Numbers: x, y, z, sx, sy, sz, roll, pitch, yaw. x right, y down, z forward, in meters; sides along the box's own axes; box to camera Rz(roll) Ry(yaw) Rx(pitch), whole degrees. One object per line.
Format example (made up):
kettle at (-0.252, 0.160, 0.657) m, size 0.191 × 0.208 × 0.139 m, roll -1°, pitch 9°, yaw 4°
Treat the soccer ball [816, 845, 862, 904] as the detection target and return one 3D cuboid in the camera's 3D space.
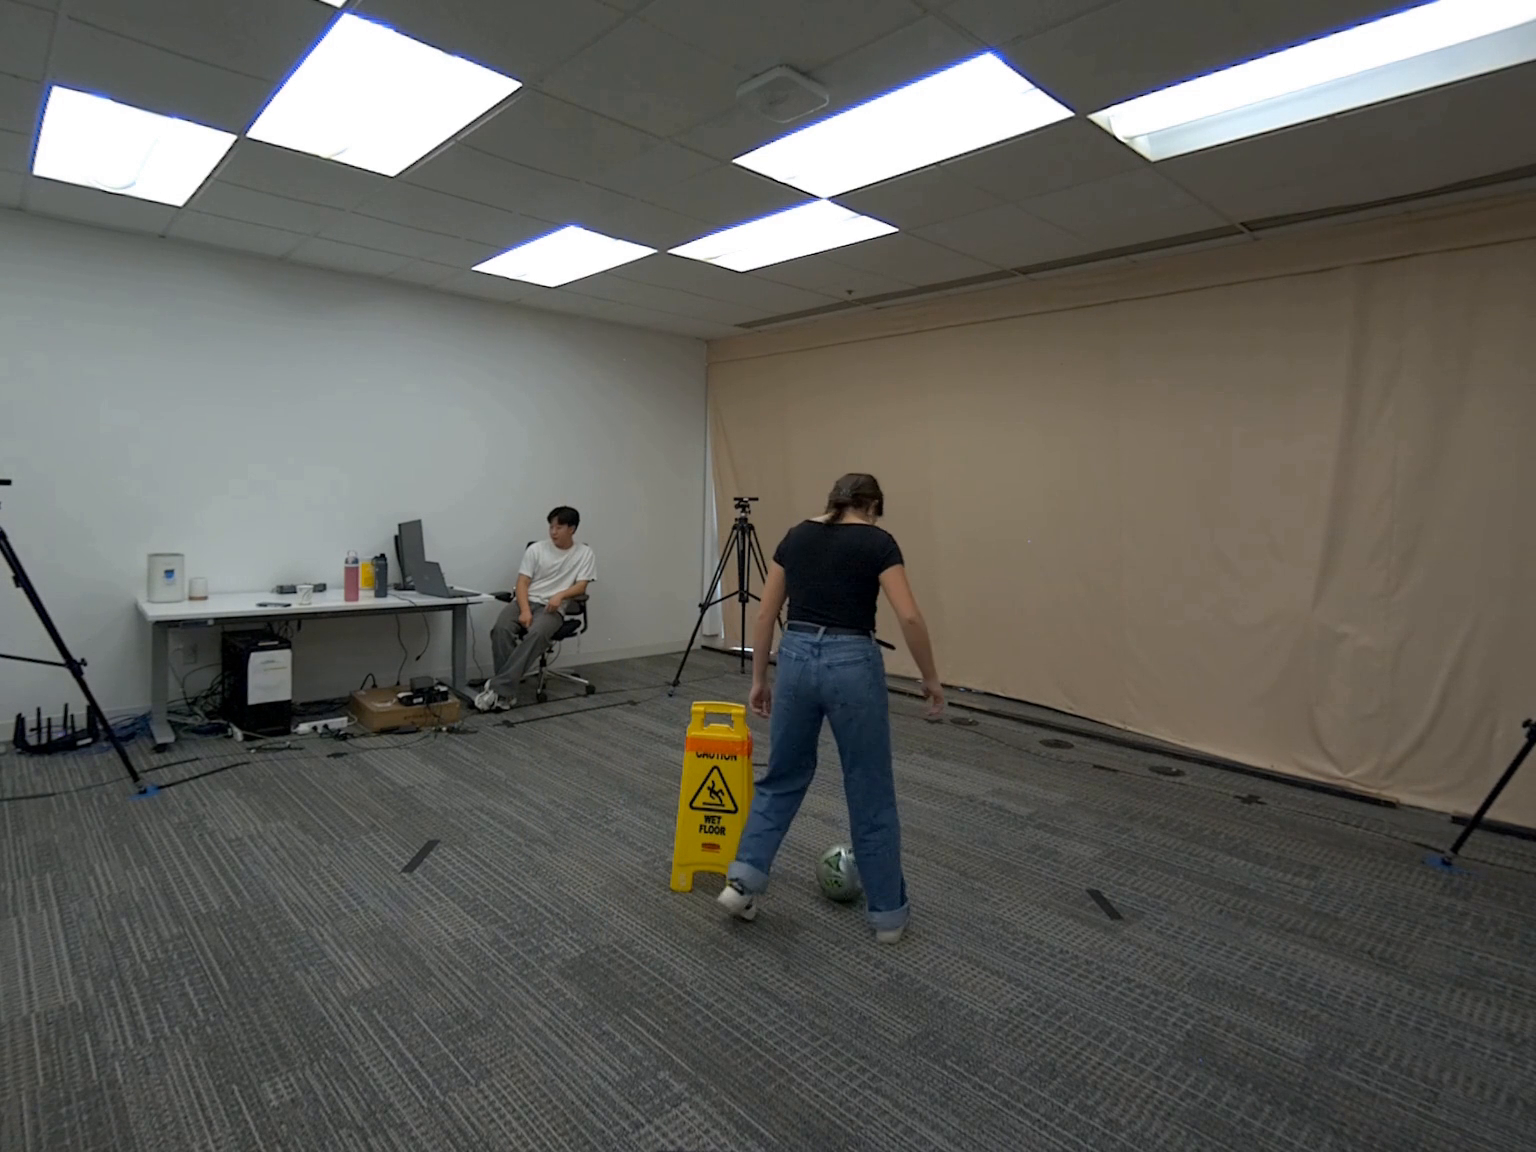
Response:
soccer ball at (0.265, 1.037, 2.934) m, size 0.187 × 0.187 × 0.188 m, roll 1°, pitch 4°, yaw -1°
